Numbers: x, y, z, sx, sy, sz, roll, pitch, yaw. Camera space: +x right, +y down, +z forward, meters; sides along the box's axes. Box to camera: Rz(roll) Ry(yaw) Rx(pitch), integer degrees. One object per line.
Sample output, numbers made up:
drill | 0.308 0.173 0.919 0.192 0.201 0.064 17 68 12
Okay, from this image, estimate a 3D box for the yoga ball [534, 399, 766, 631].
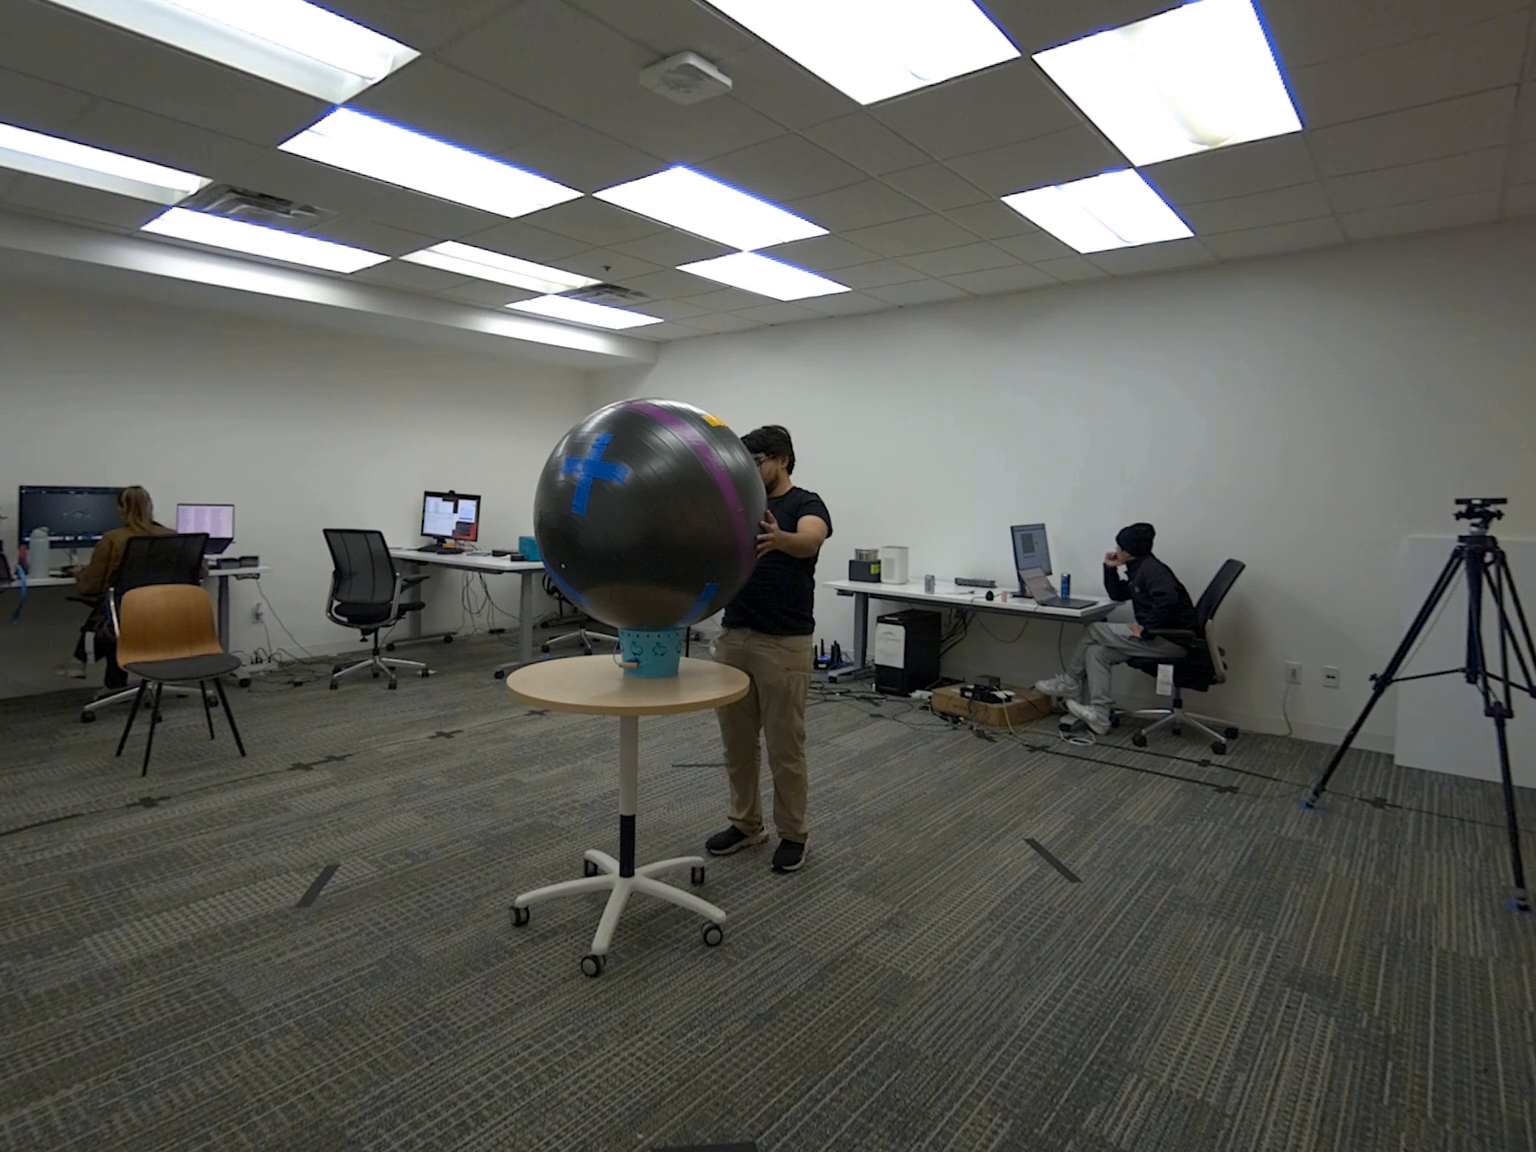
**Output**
yoga ball | -0.383 -0.193 2.762 0.757 0.755 0.762 1 4 -2
